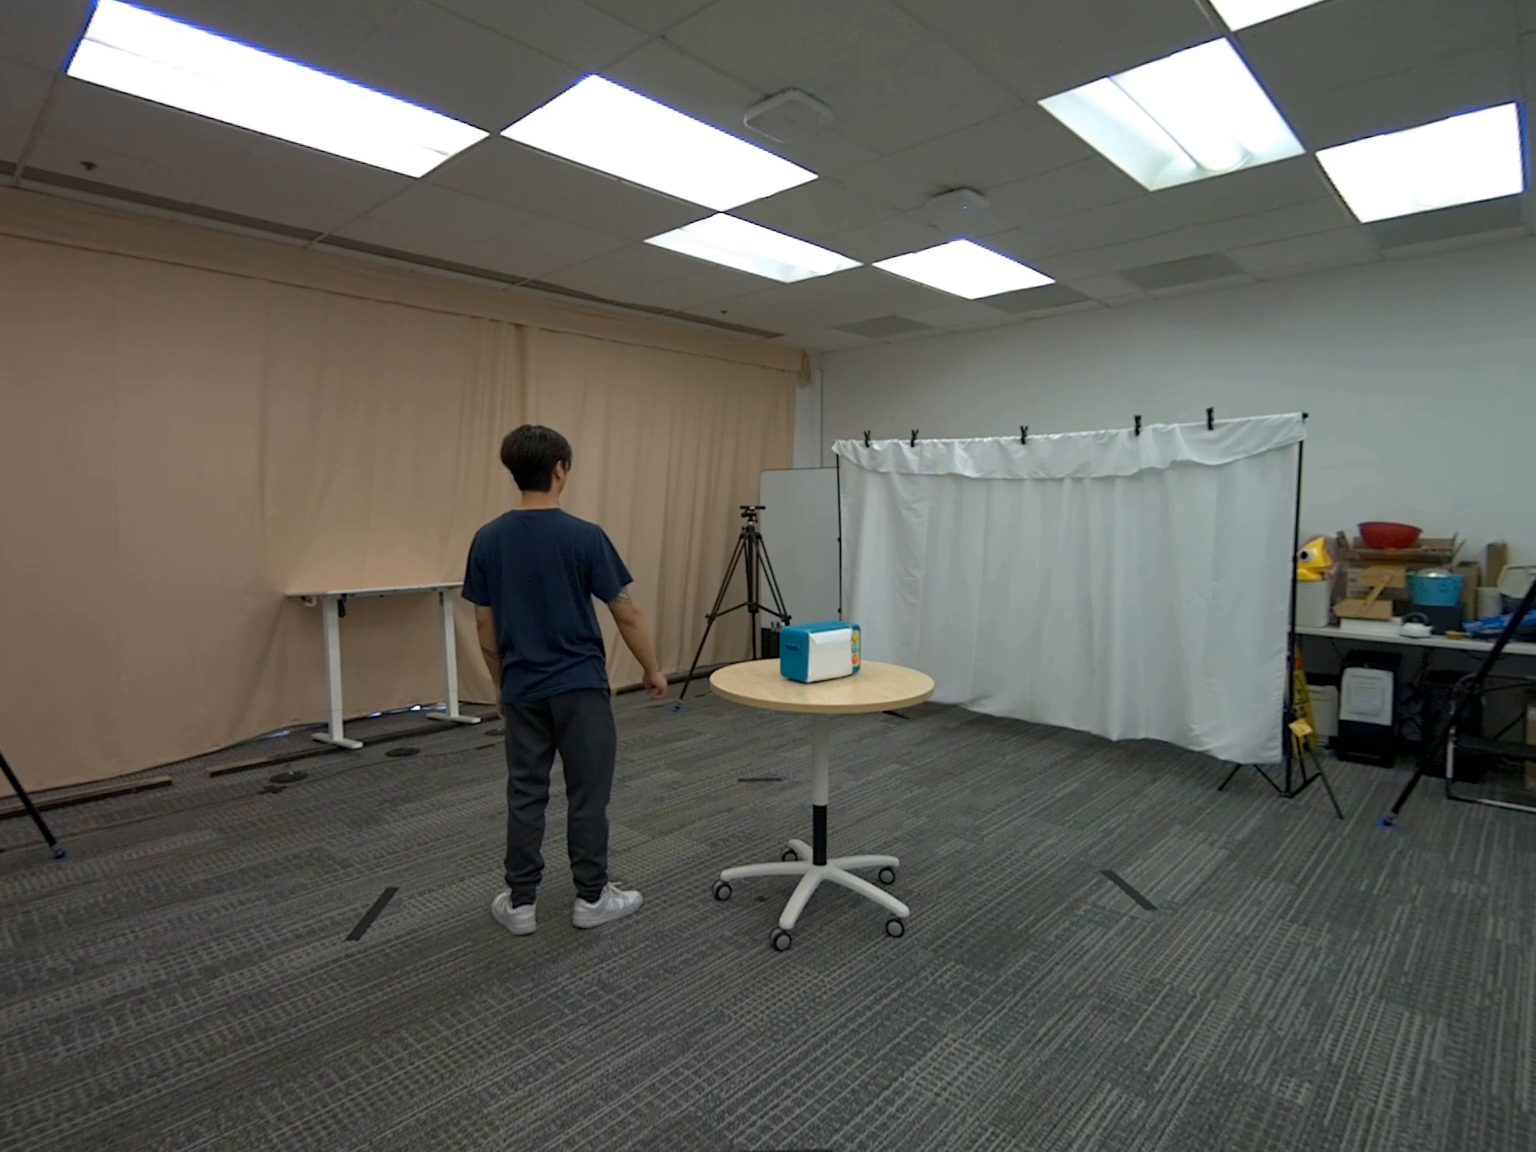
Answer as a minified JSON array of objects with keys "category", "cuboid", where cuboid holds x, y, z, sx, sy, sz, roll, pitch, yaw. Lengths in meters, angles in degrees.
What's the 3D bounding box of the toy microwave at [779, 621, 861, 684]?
[{"category":"toy microwave","cuboid":[0.202,0.265,2.918,0.278,0.183,0.157,-5,6,-40]}]
